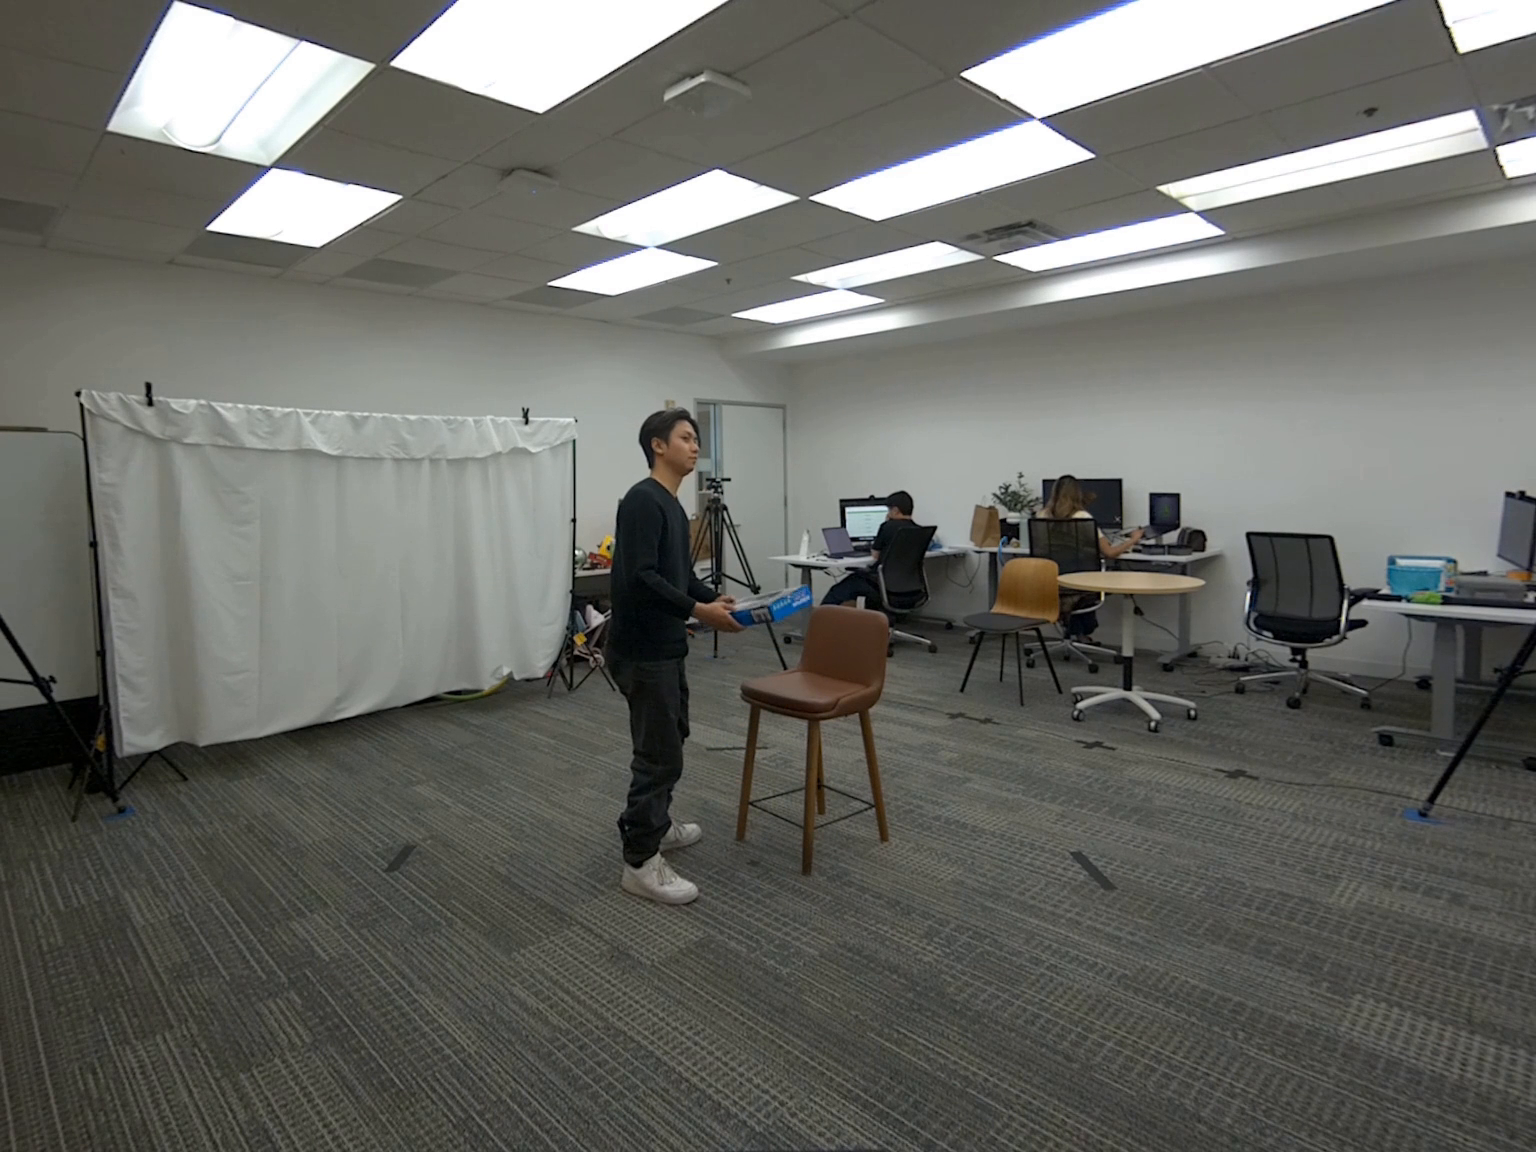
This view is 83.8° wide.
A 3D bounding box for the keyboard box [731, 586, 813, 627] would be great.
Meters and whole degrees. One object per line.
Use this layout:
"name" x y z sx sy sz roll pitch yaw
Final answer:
"keyboard box" -0.046 0.111 2.862 0.173 0.059 0.445 -26 8 -33
